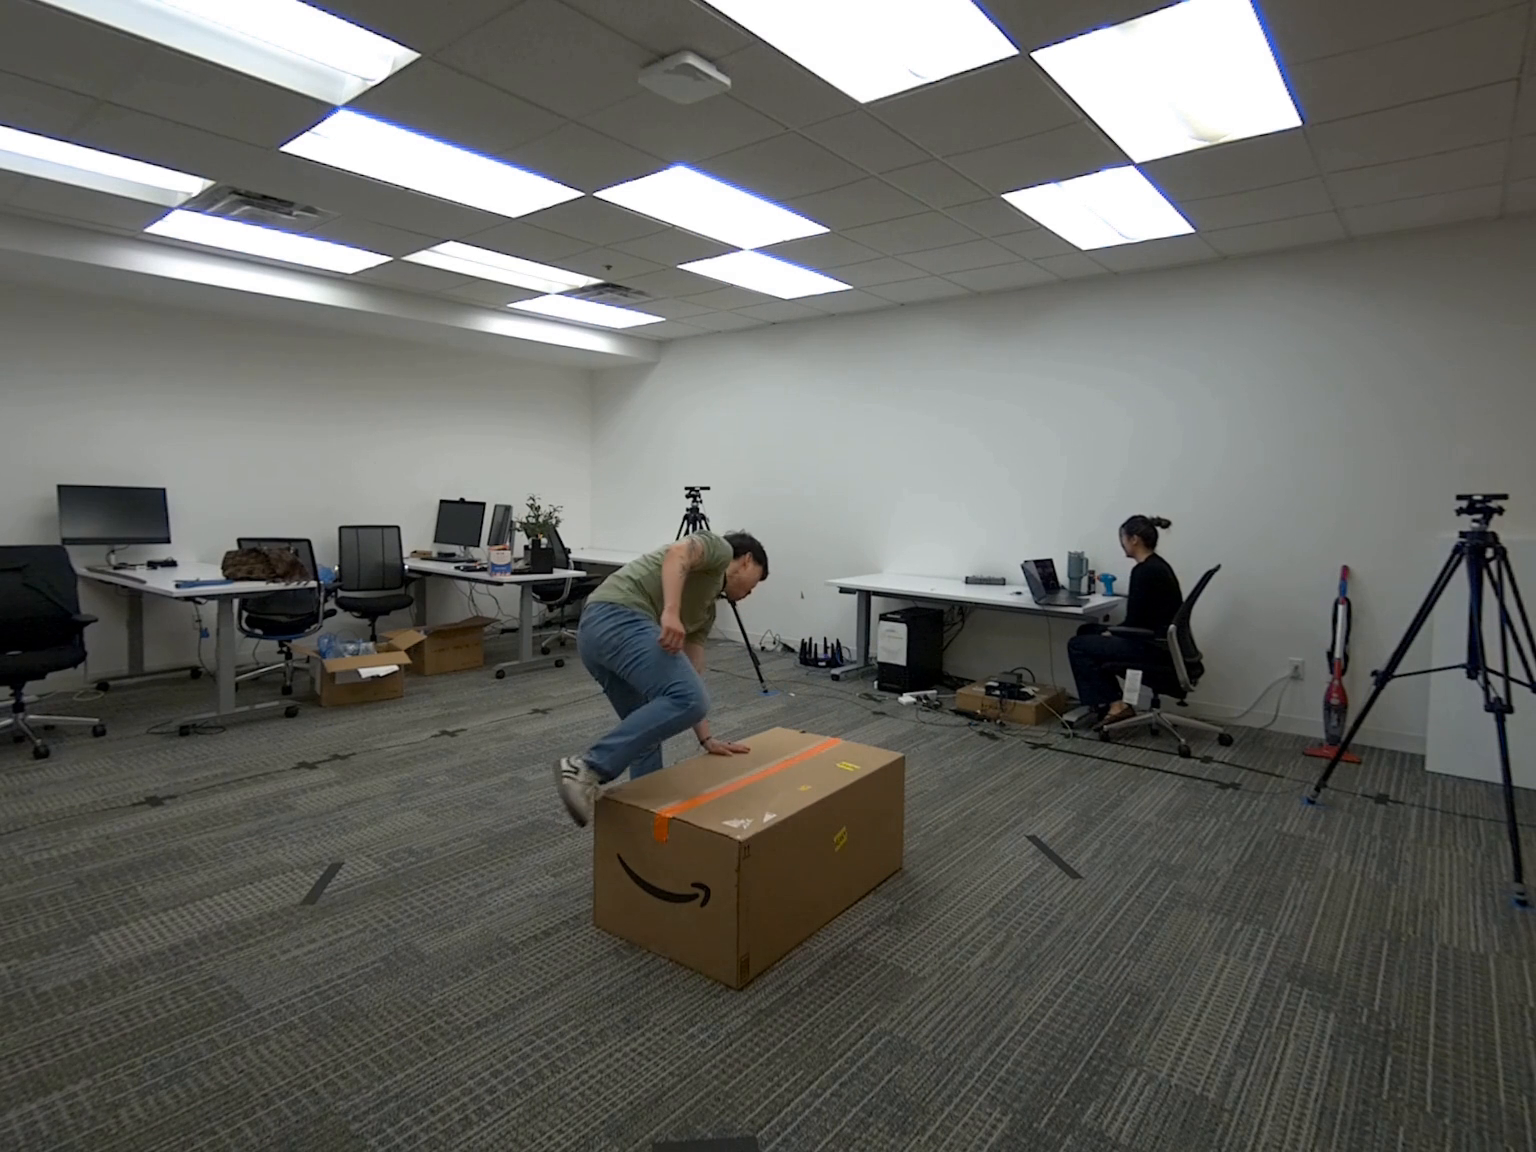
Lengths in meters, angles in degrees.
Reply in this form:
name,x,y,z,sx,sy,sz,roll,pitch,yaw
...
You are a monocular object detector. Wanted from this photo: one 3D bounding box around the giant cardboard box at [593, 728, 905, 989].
name,x,y,z,sx,sy,sz,roll,pitch,yaw
giant cardboard box,-0.033,0.874,2.905,0.596,0.424,0.997,4,6,36
